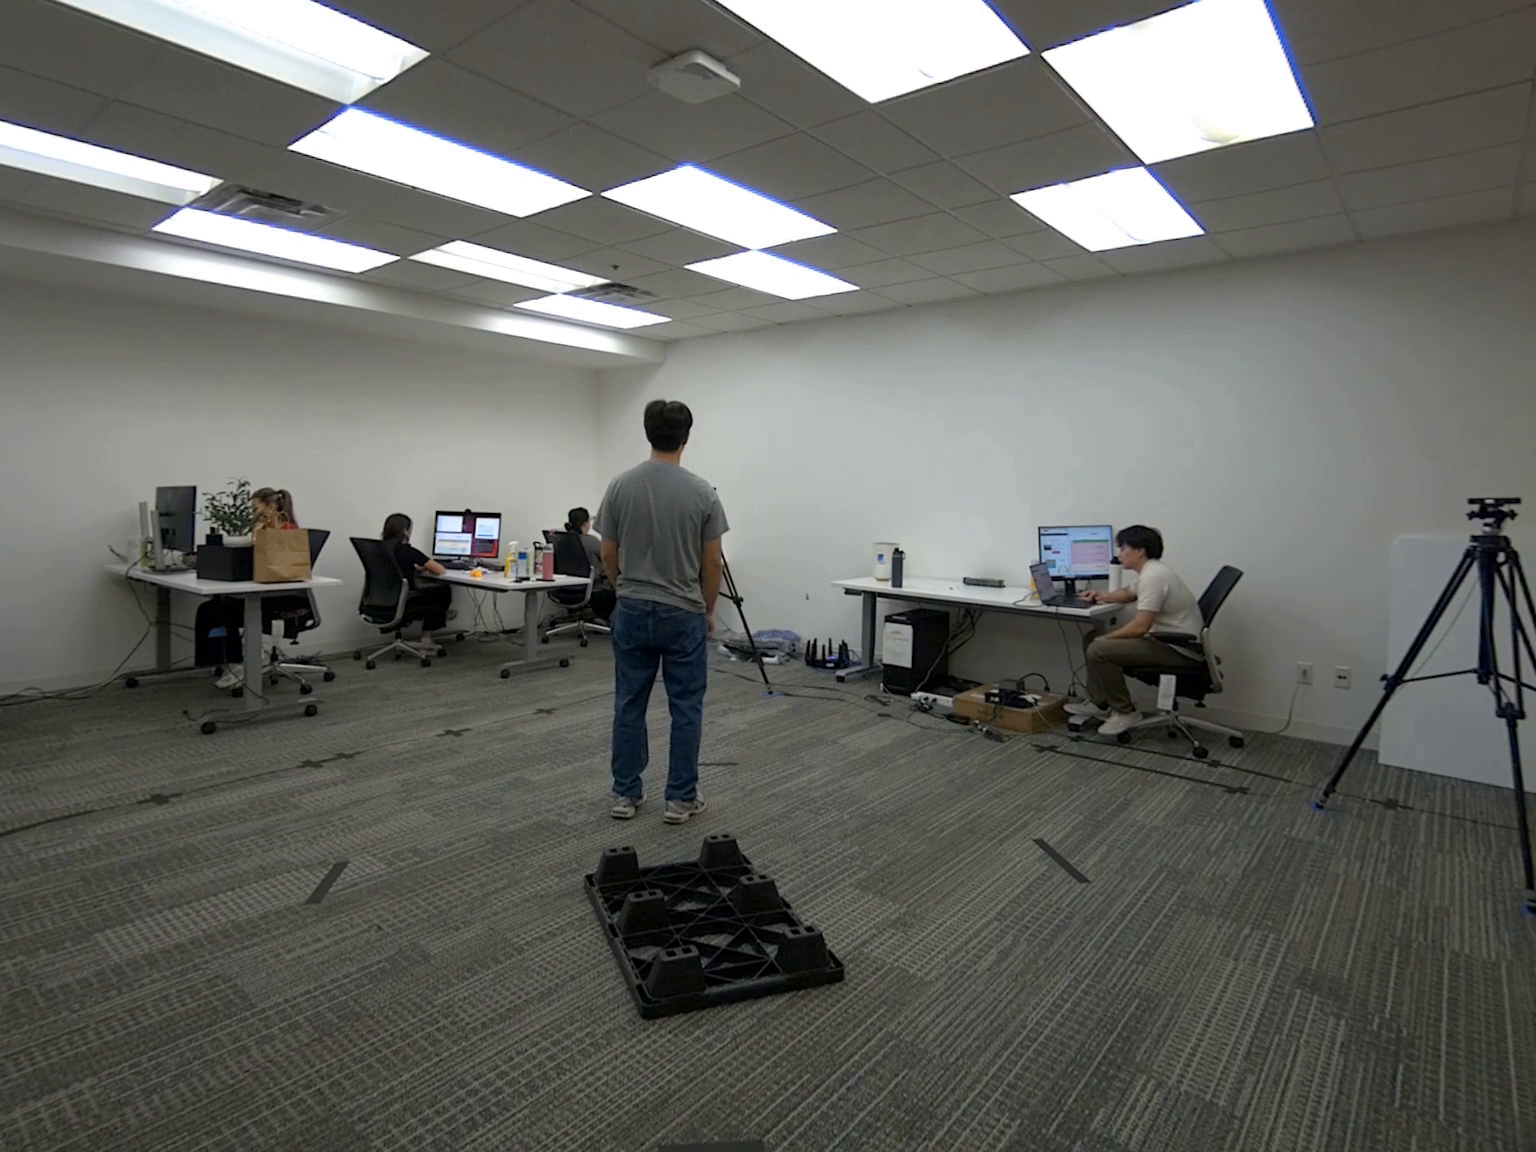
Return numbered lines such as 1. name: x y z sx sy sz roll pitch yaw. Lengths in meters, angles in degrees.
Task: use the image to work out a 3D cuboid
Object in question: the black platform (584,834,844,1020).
1. black platform: -0.221 1.040 2.682 0.592 0.143 0.826 -1 6 -23
